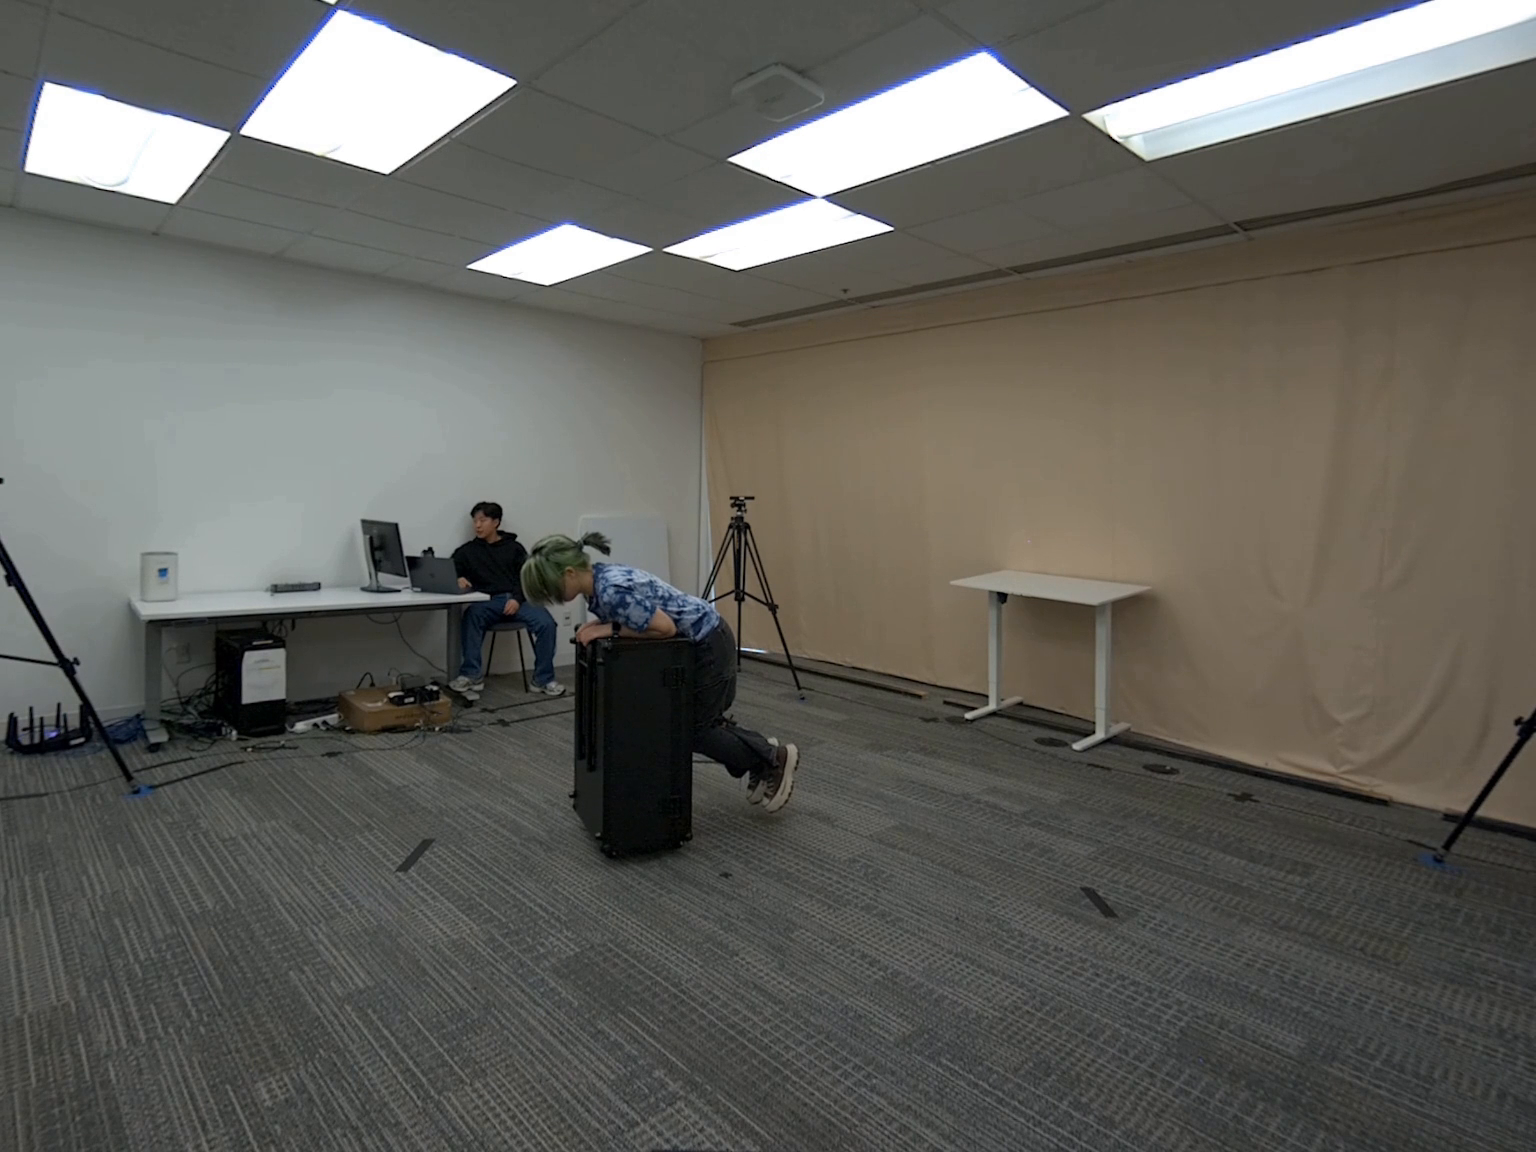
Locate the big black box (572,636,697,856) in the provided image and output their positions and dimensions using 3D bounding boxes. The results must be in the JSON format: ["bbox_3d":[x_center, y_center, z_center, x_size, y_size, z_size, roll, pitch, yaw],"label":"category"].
[{"bbox_3d":[-0.566,0.594,3.364,0.389,0.859,0.531,-1,4,-25],"label":"big black box"}]
